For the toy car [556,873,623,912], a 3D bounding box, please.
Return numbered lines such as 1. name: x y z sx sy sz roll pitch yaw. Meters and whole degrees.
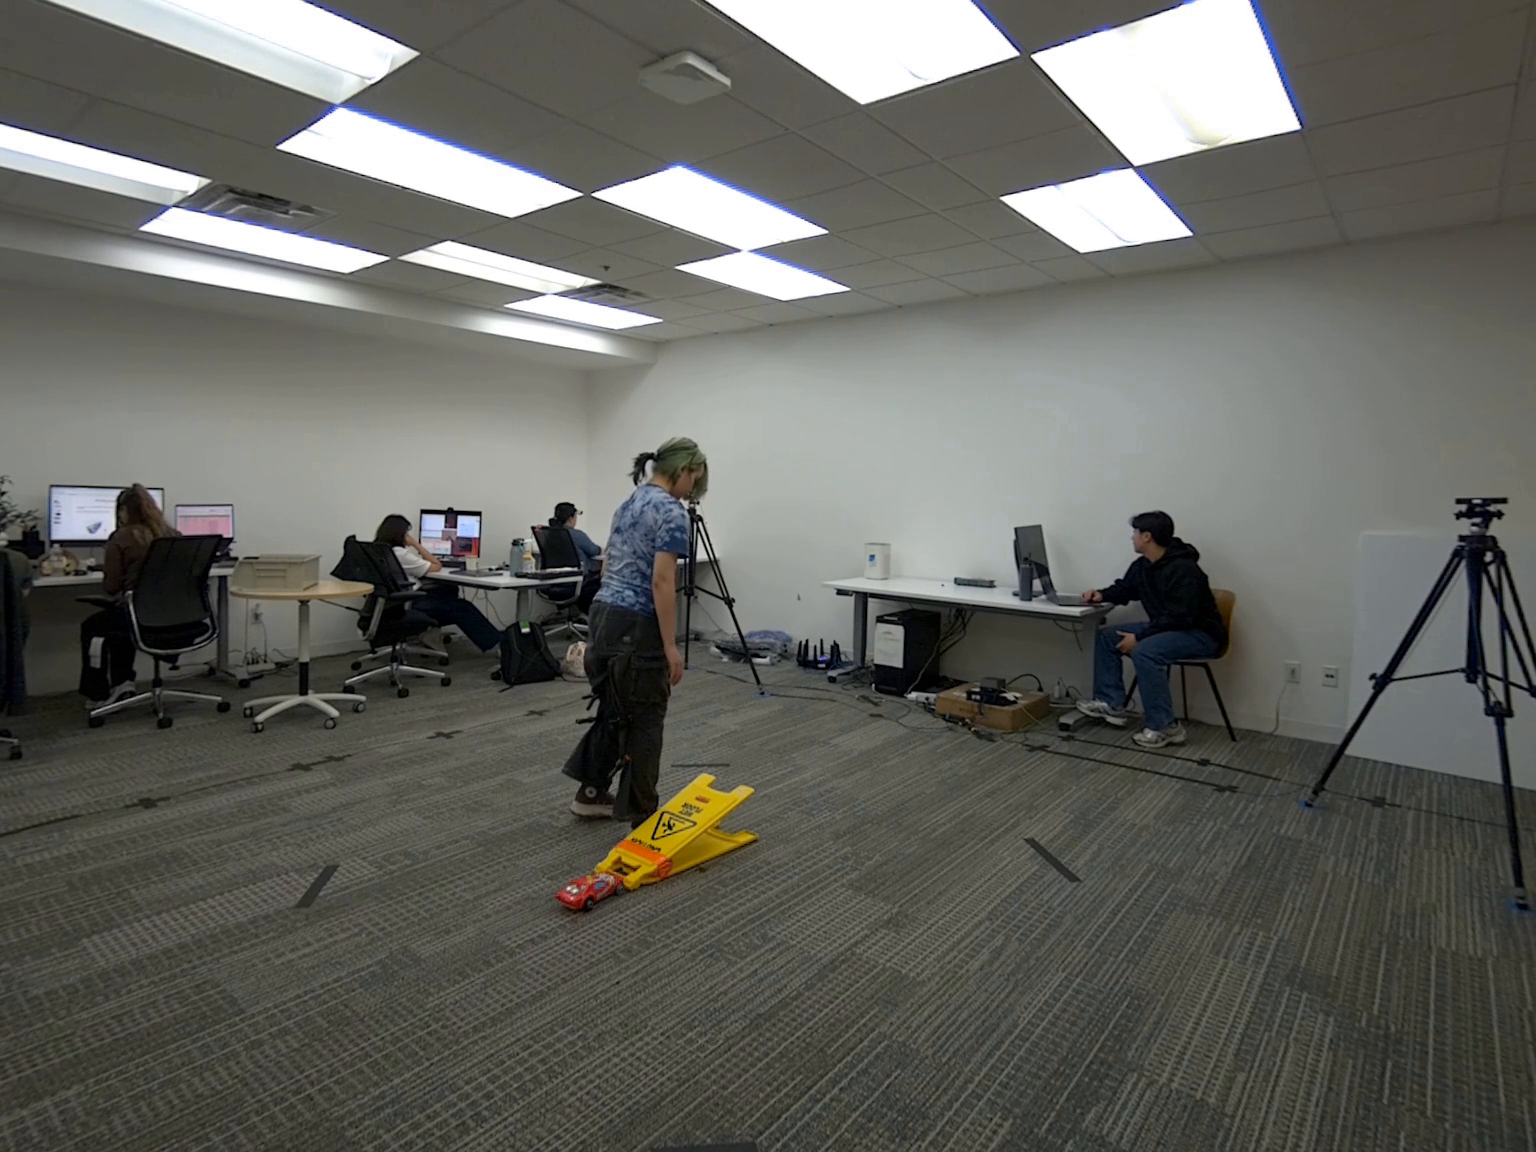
1. toy car: -0.613 1.053 2.854 0.134 0.083 0.245 4 -5 37
